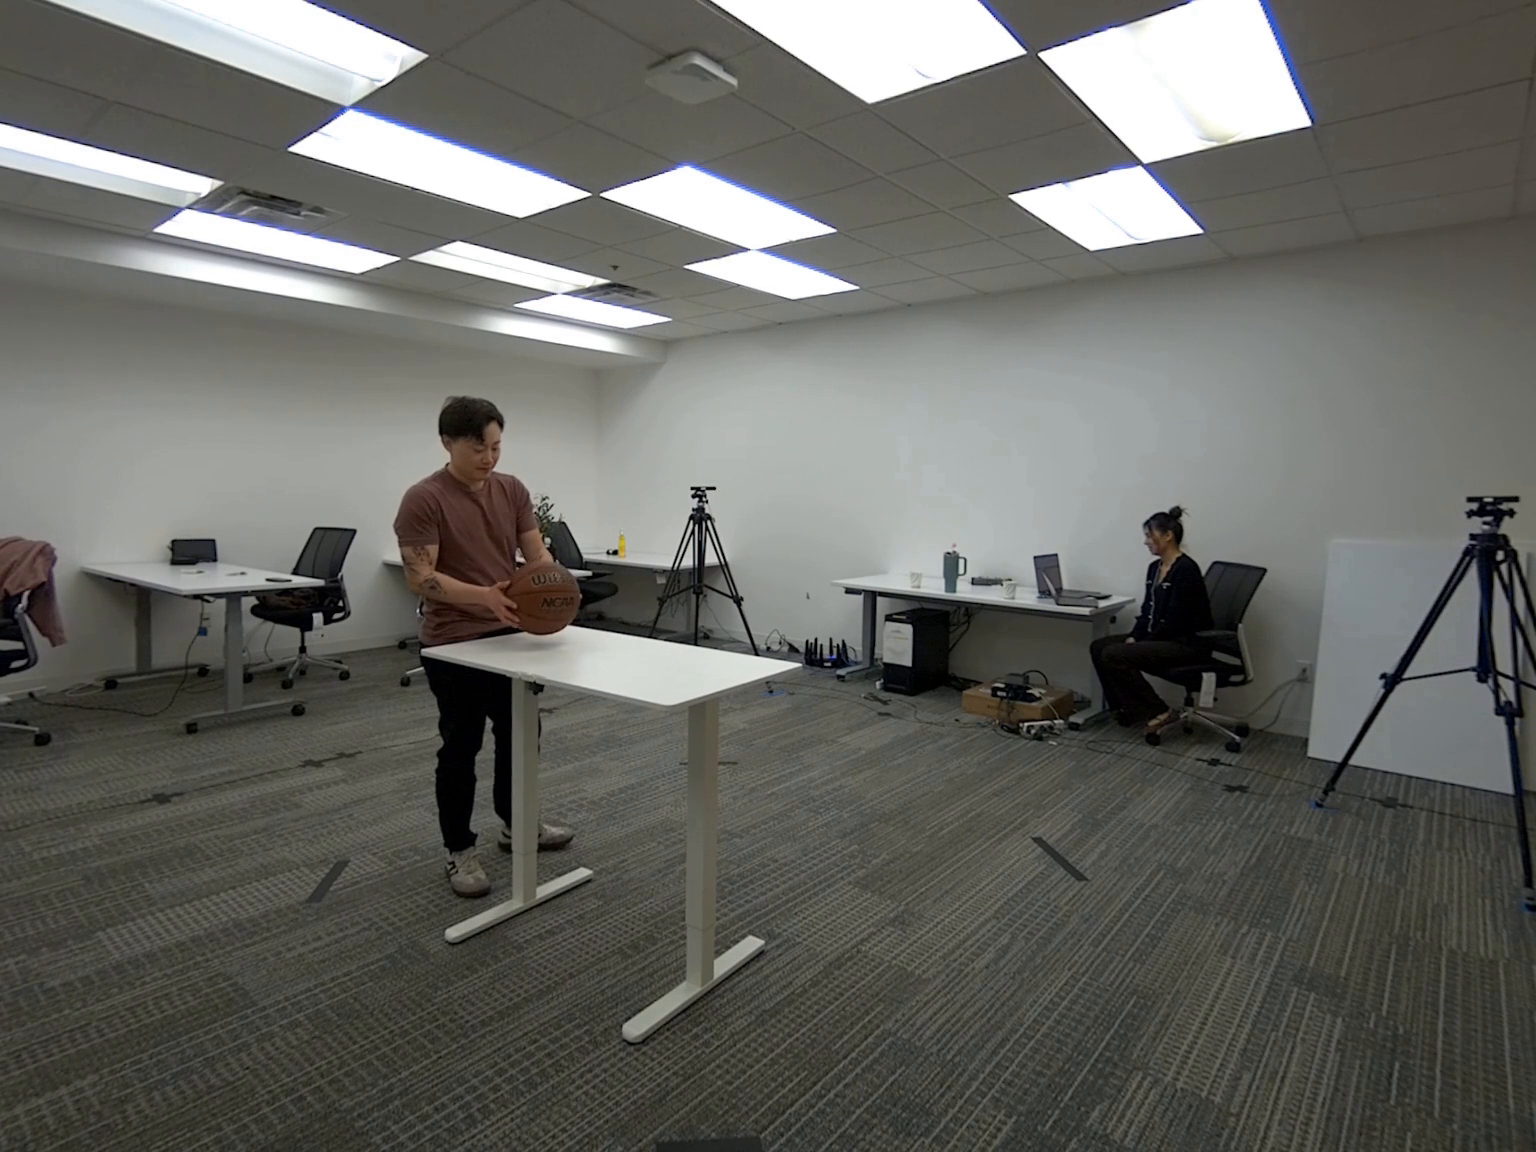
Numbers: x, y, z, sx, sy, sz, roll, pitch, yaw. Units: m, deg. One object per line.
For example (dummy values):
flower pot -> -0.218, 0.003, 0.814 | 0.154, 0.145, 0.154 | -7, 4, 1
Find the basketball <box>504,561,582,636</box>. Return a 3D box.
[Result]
basketball -> -0.720, 0.070, 2.679 | 0.235, 0.235, 0.237 | 1, 4, -2
